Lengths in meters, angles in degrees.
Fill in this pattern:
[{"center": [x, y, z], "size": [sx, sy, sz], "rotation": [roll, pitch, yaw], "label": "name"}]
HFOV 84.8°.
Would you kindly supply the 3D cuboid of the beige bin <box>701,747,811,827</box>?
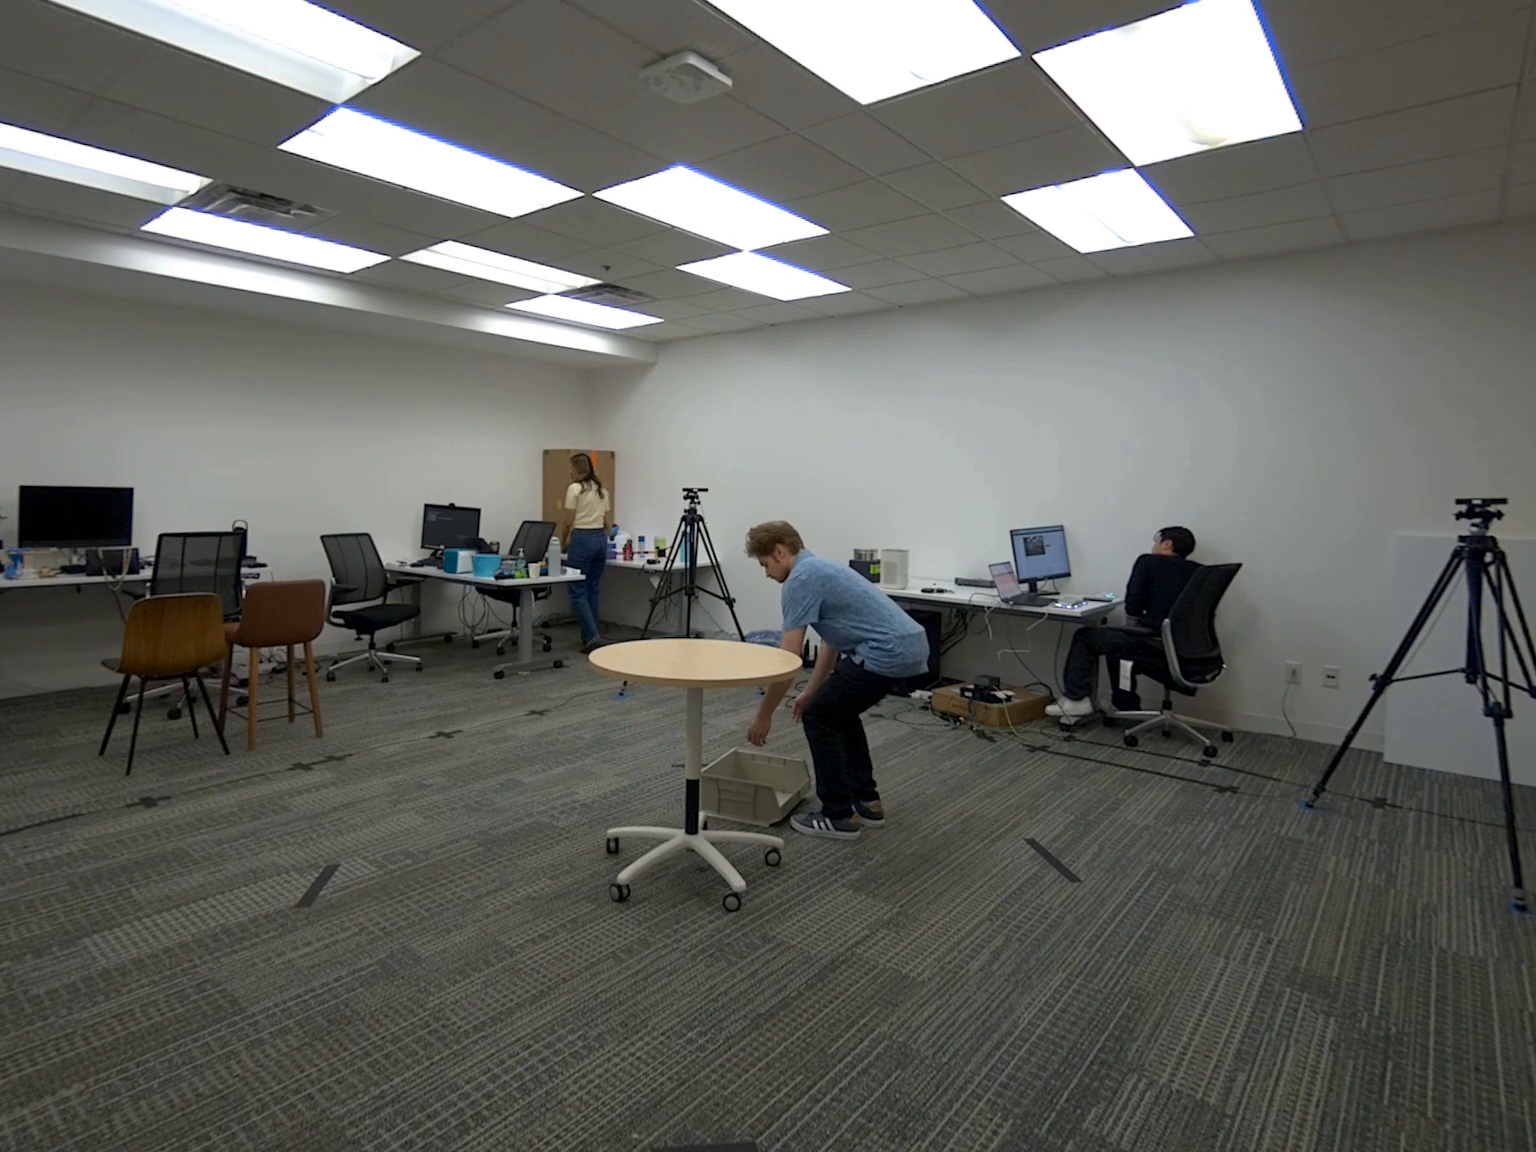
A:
[{"center": [-0.061, 0.923, 3.750], "size": [0.386, 0.188, 0.414], "rotation": [2, 6, 23], "label": "beige bin"}]
